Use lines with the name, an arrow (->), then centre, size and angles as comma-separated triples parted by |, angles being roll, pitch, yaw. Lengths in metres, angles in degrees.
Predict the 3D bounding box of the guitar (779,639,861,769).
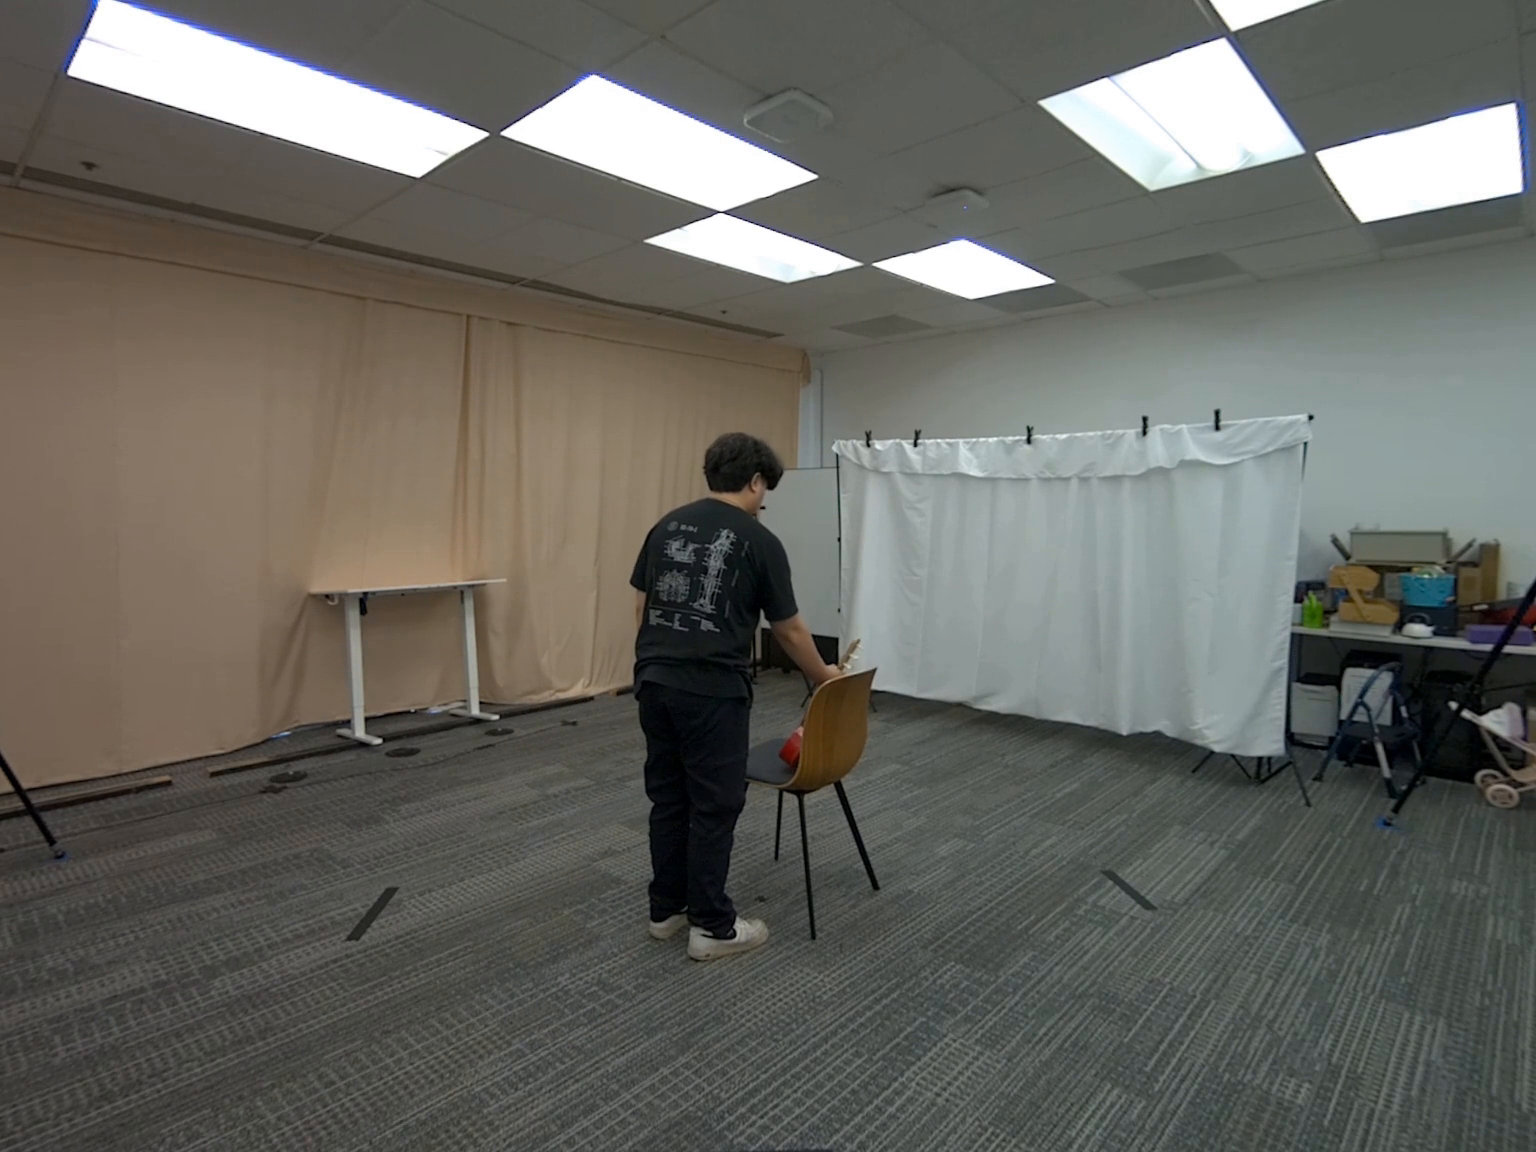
guitar -> 0.193, 0.438, 2.886 | 0.072, 0.497, 0.188 | 35, 20, 20
